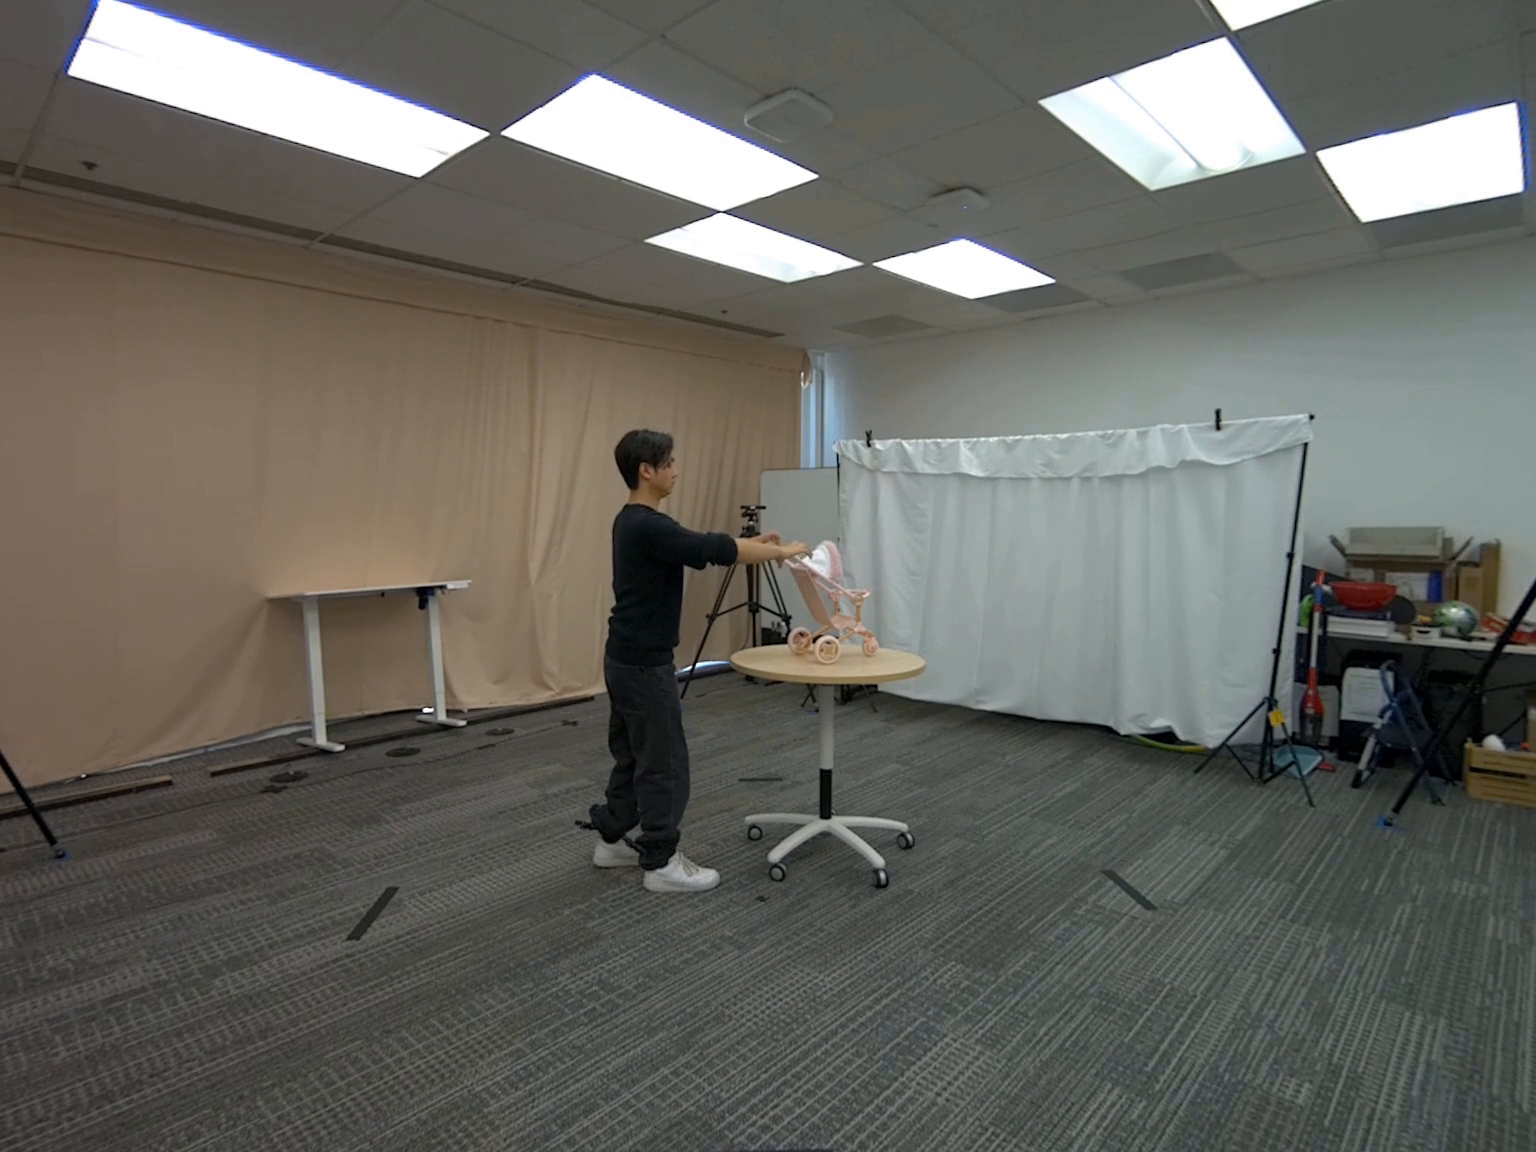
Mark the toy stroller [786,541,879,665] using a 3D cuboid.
[{"bbox_3d":[0.251,0.106,3.348,0.337,0.532,0.286,-15,6,-15],"label":"toy stroller"}]
